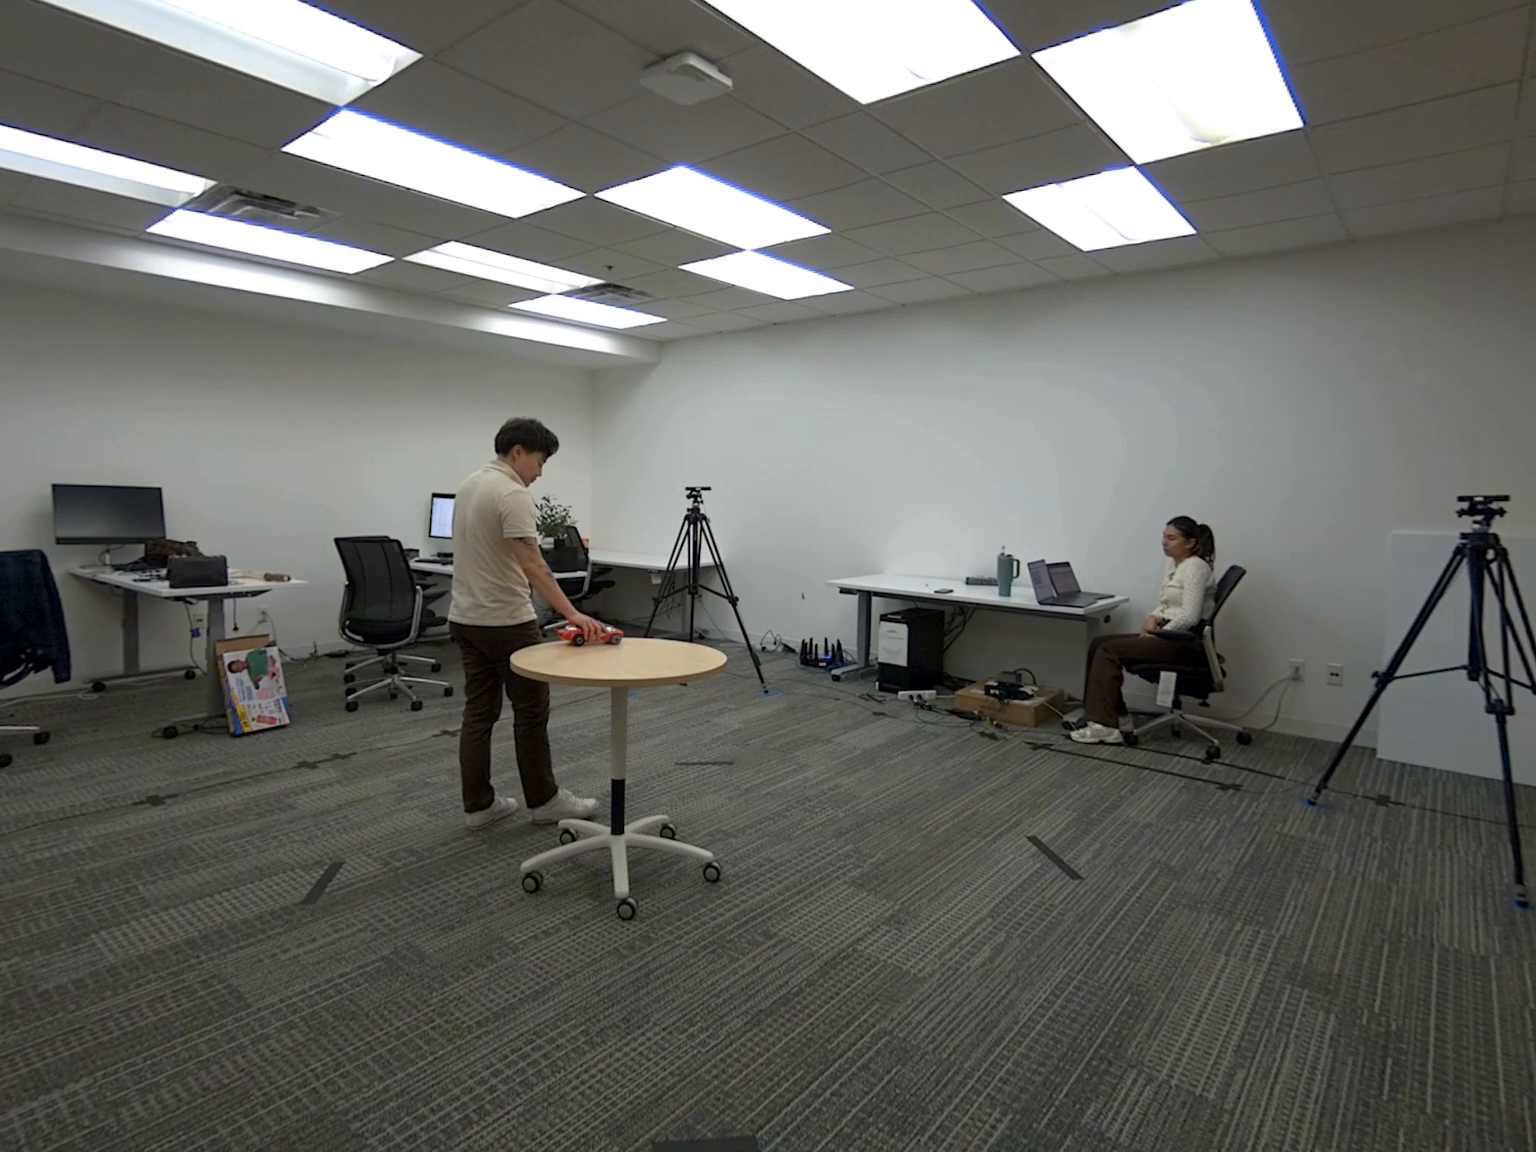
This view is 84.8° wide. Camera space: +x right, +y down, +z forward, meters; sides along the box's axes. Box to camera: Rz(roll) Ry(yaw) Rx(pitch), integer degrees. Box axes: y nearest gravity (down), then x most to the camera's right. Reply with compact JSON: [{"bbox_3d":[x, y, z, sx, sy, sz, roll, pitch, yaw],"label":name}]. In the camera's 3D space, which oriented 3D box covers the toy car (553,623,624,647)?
[{"bbox_3d":[-0.705,0.228,3.269,0.247,0.083,0.134,11,-1,-25],"label":"toy car"}]
